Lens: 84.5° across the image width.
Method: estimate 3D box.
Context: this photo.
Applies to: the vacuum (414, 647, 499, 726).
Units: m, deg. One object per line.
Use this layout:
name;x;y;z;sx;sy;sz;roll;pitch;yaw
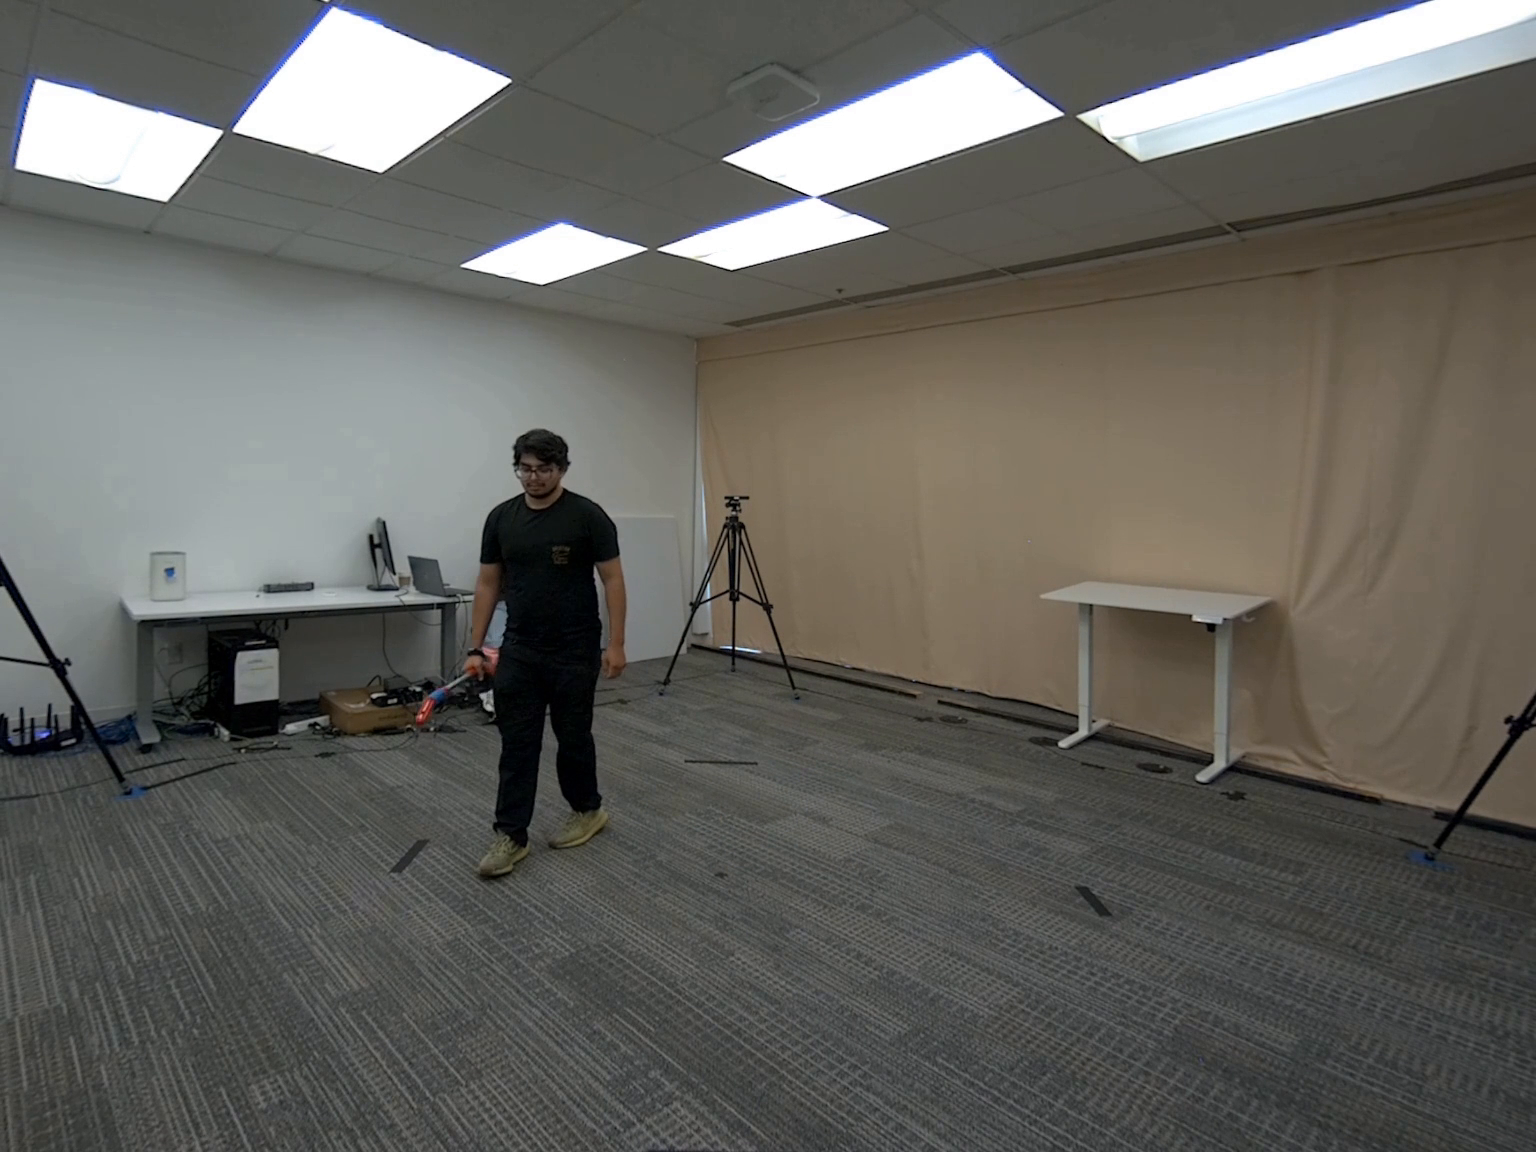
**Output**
vacuum;-1.114;0.430;3.107;0.252;0.143;1.055;7;5;-4
